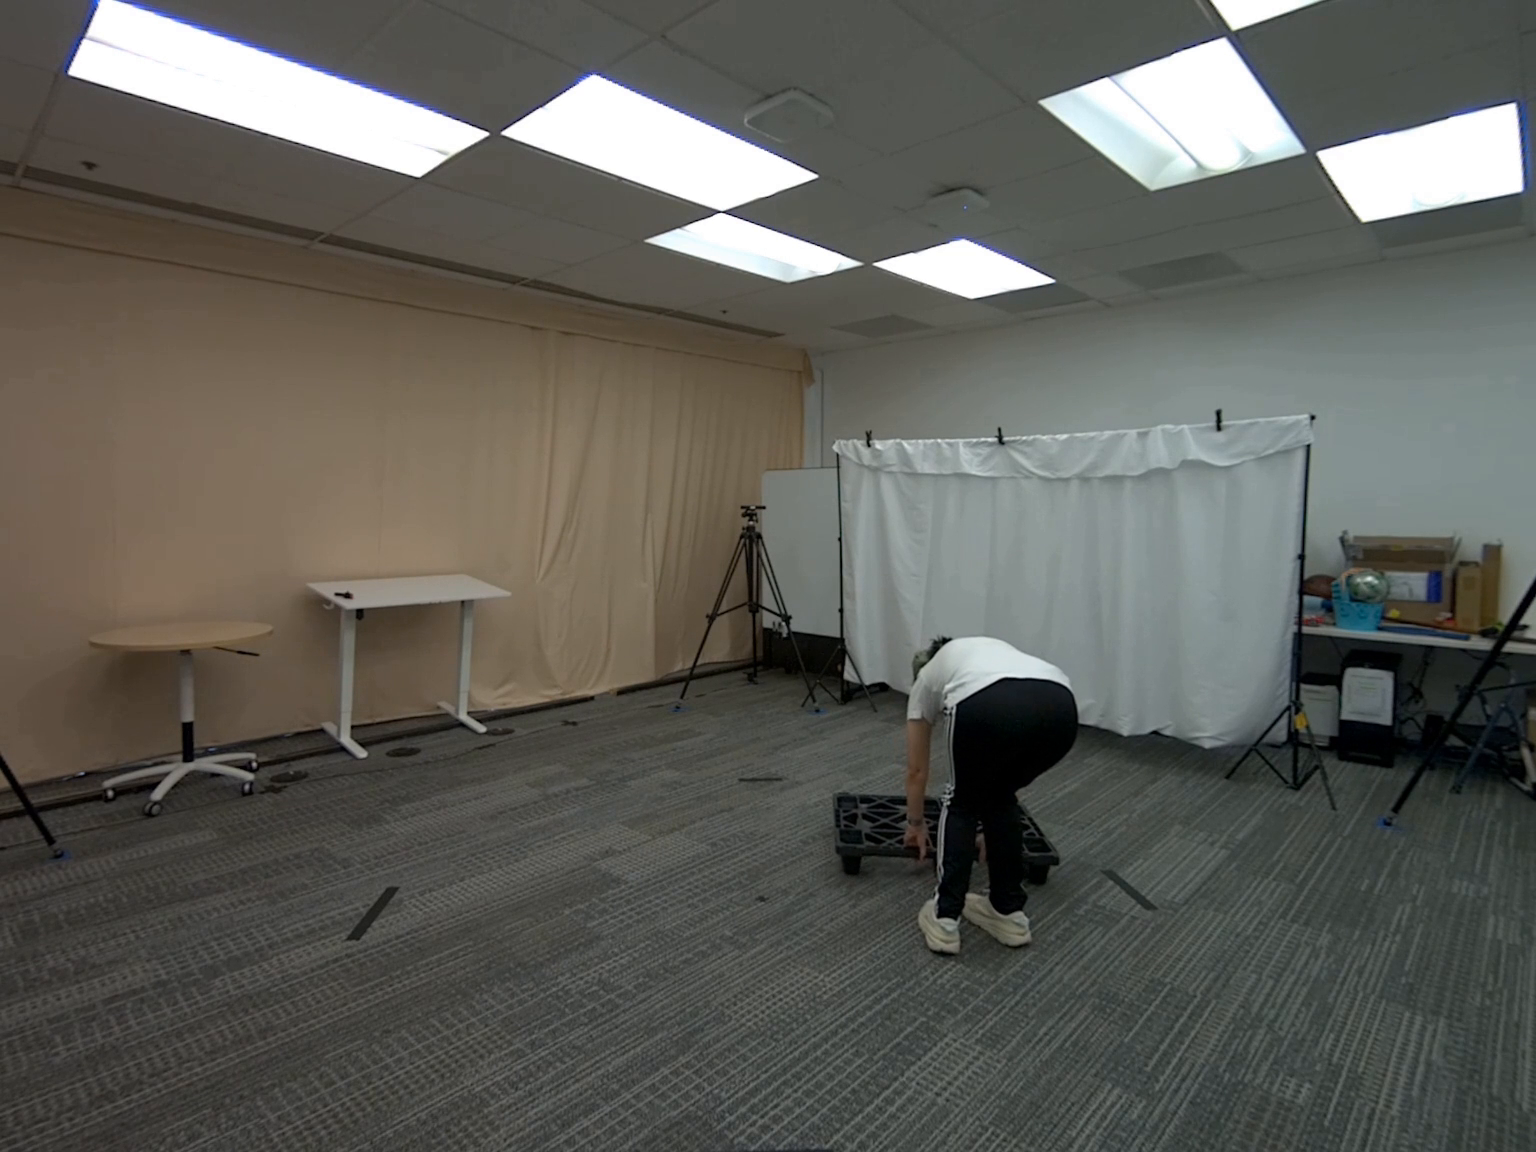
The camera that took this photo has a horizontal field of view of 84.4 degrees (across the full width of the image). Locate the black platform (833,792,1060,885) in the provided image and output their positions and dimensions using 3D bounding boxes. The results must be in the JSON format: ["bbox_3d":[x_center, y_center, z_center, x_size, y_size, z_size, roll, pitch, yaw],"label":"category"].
[{"bbox_3d":[0.669,1.041,3.353,0.811,0.143,0.602,1,4,5],"label":"black platform"}]
